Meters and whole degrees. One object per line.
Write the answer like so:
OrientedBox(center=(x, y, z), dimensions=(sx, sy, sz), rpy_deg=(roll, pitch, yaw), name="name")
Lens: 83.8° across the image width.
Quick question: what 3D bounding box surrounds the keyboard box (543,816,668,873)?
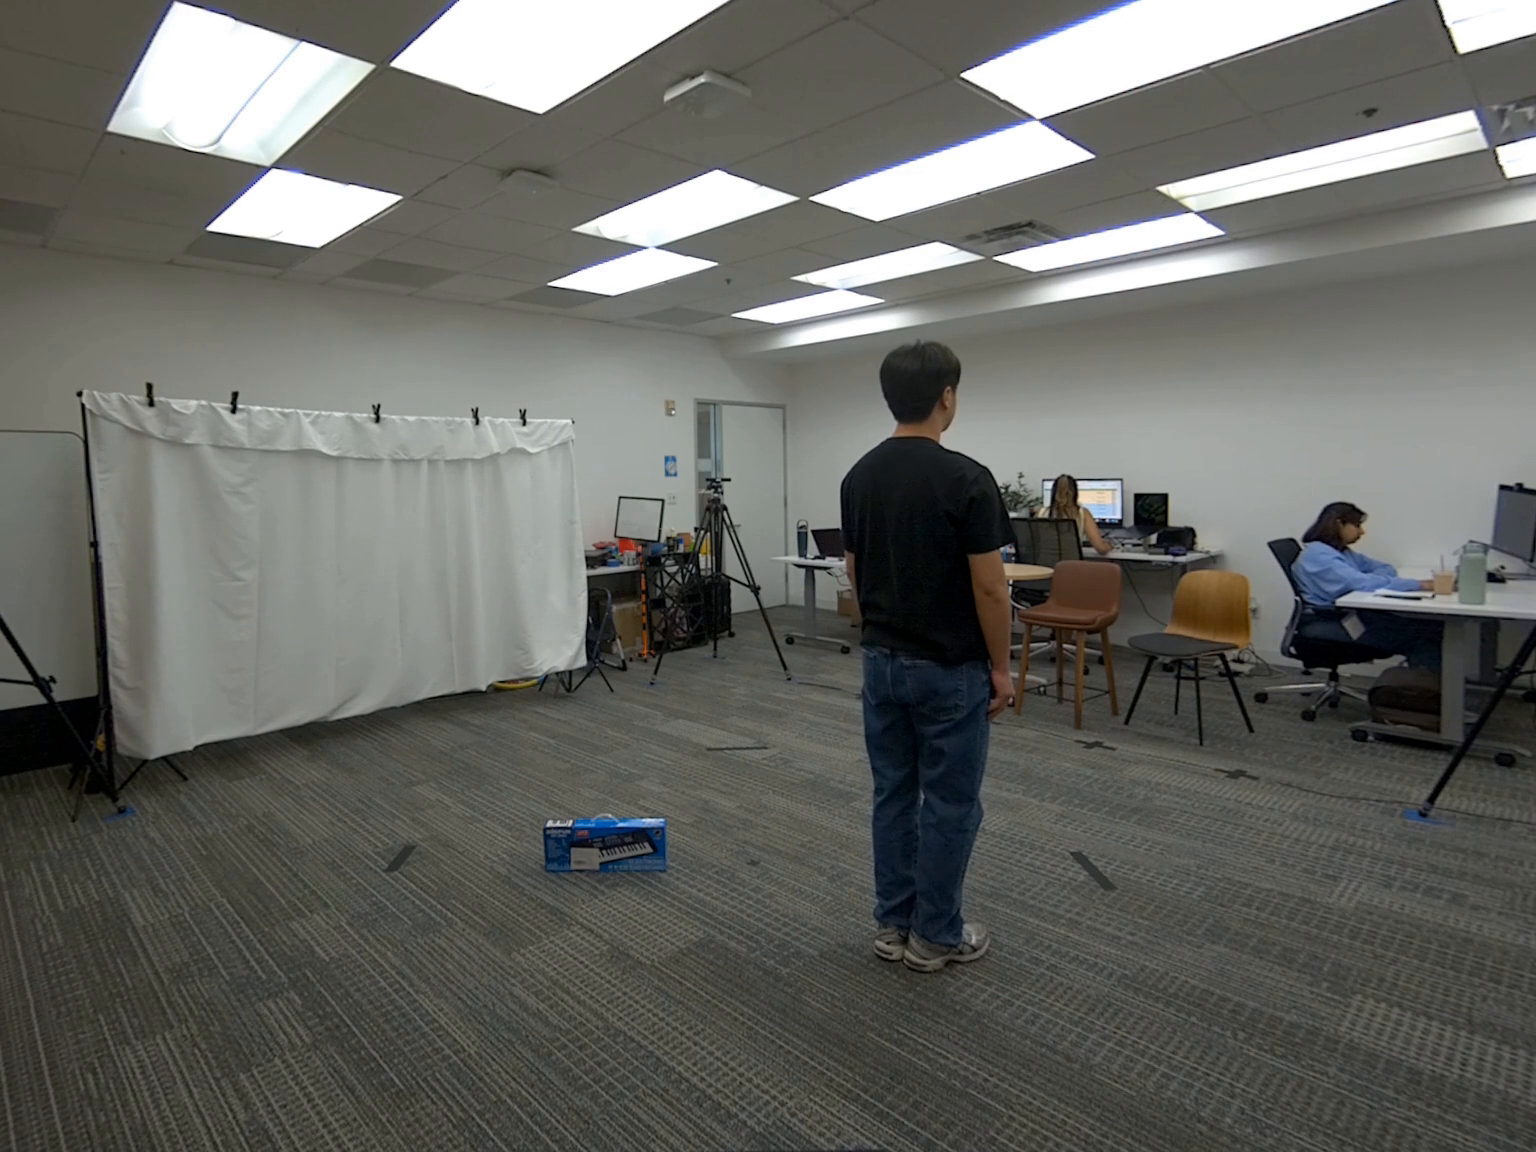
OrientedBox(center=(-0.582, 0.968, 3.071), dimensions=(0.437, 0.174, 0.059), rpy_deg=(-1, 8, 2), name="keyboard box")
